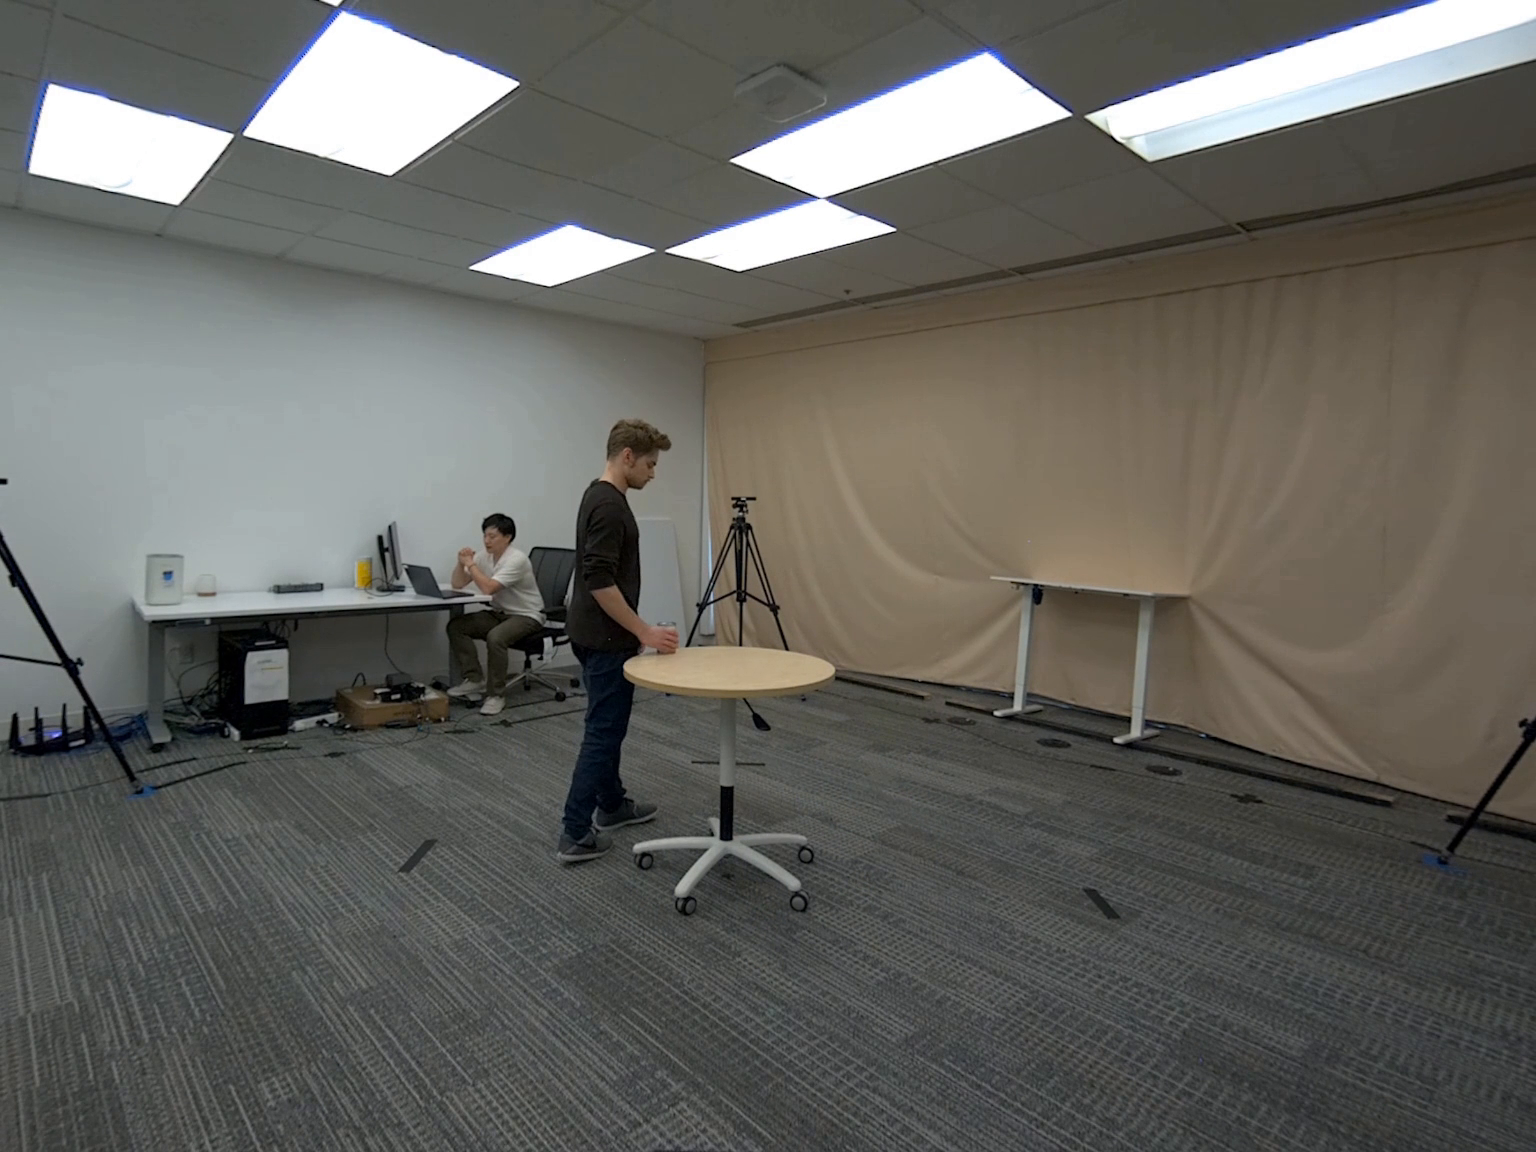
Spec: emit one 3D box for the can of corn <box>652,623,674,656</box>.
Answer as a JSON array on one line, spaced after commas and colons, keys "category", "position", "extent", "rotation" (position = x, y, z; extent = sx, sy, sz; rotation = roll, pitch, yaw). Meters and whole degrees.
[{"category": "can of corn", "position": [-0.411, 0.245, 3.289], "extent": [0.074, 0.110, 0.074], "rotation": [1, 5, -1]}]
